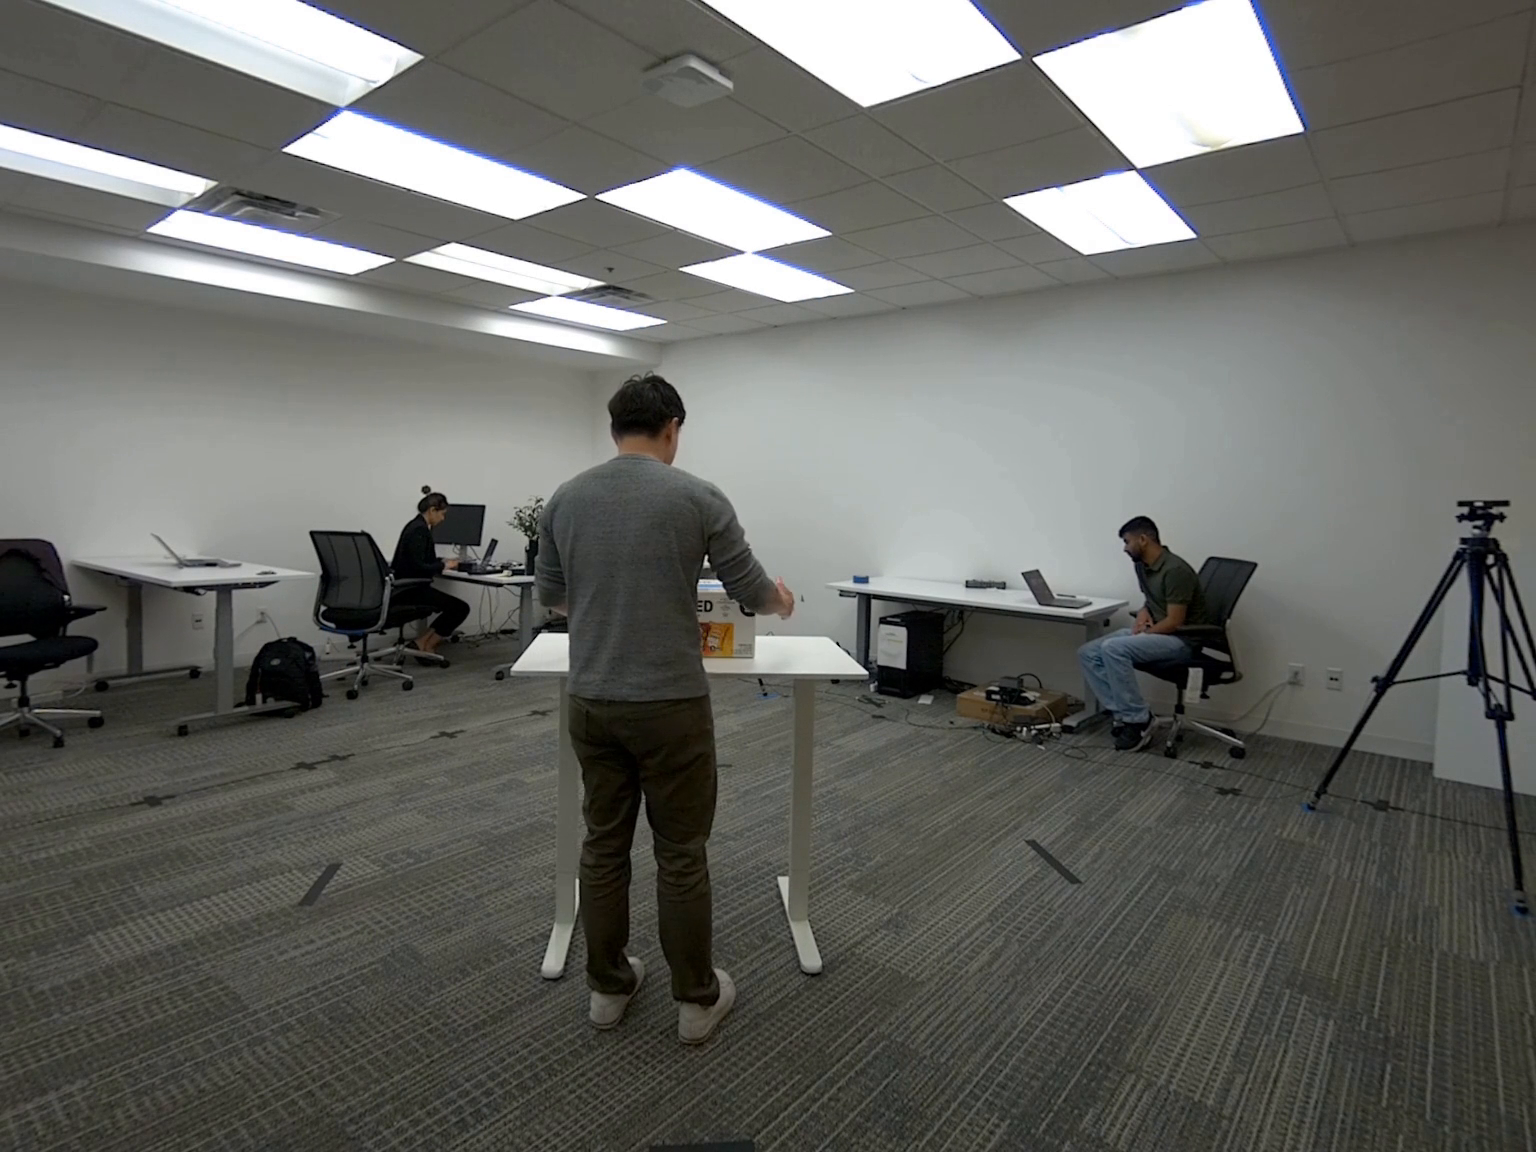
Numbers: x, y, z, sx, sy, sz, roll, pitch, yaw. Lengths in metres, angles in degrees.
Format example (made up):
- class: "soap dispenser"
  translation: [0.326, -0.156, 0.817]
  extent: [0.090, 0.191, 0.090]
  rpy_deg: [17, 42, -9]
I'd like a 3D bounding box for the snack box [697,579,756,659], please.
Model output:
- class: "snack box"
  translation: [-0.262, 0.131, 2.727]
  extent: [0.404, 0.205, 0.343]
  rpy_deg: [1, 6, -3]
